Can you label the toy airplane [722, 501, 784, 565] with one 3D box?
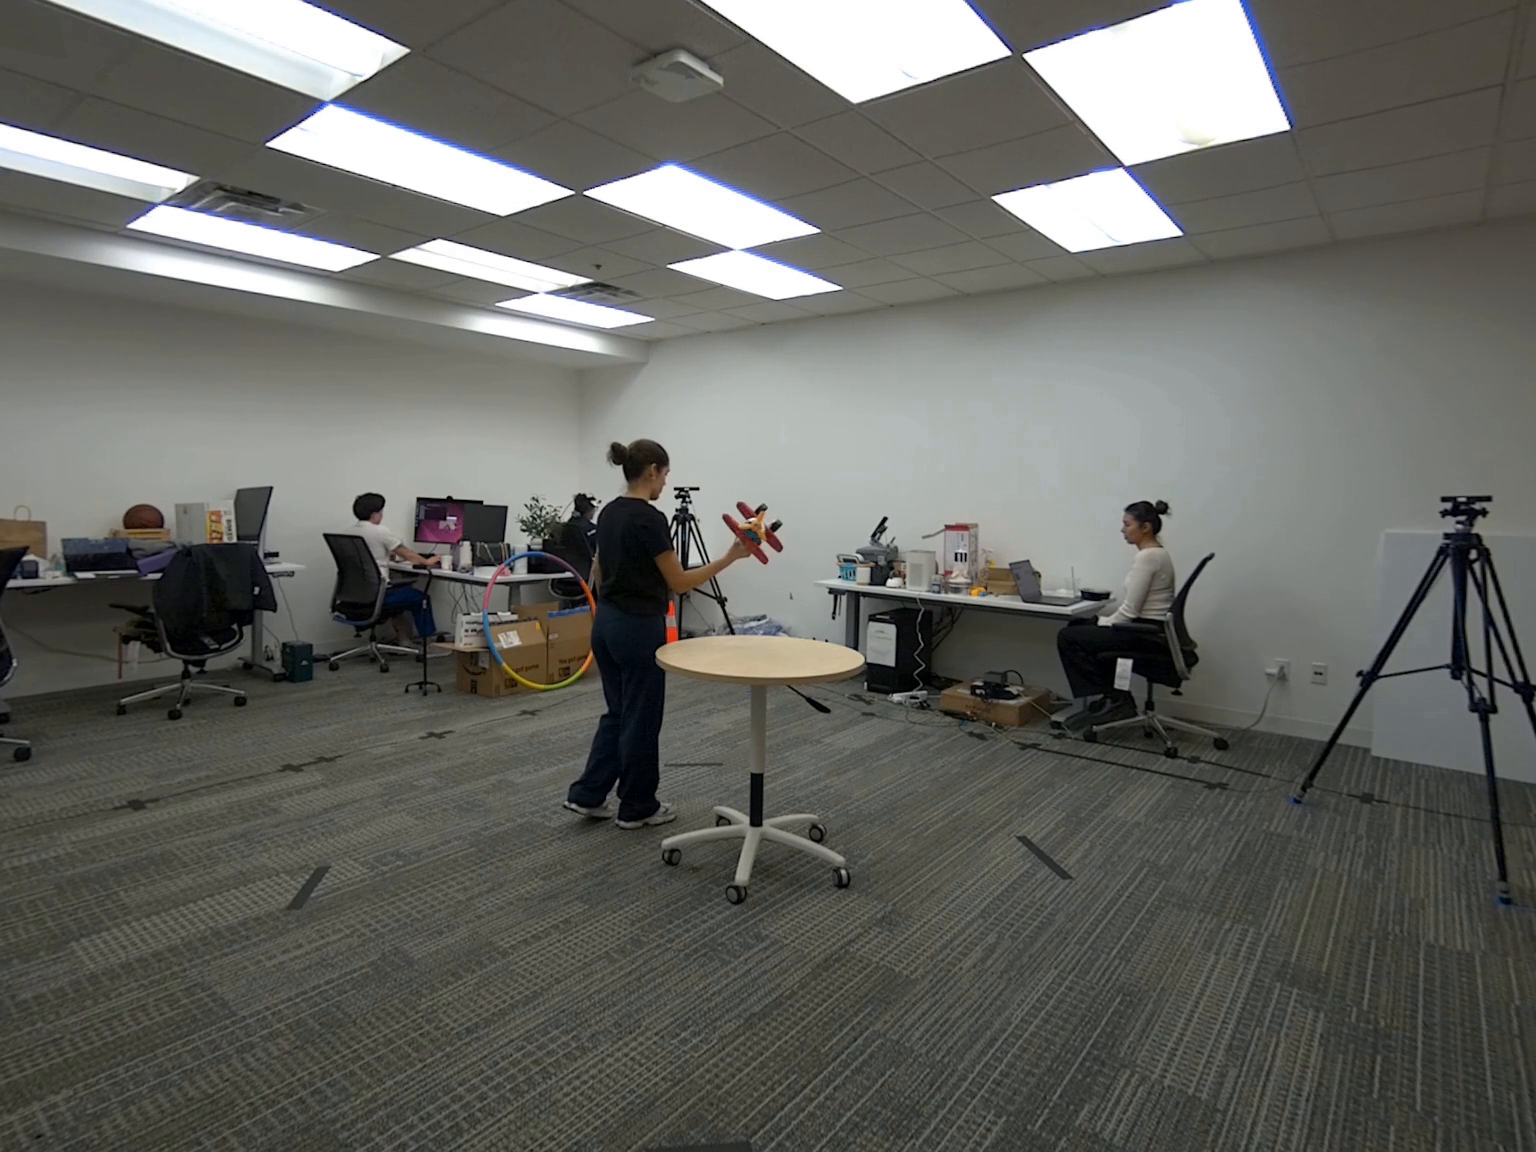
[{"bbox_3d":[-0.044,-0.167,3.365,0.260,0.251,0.155,32,54,29],"label":"toy airplane"}]
